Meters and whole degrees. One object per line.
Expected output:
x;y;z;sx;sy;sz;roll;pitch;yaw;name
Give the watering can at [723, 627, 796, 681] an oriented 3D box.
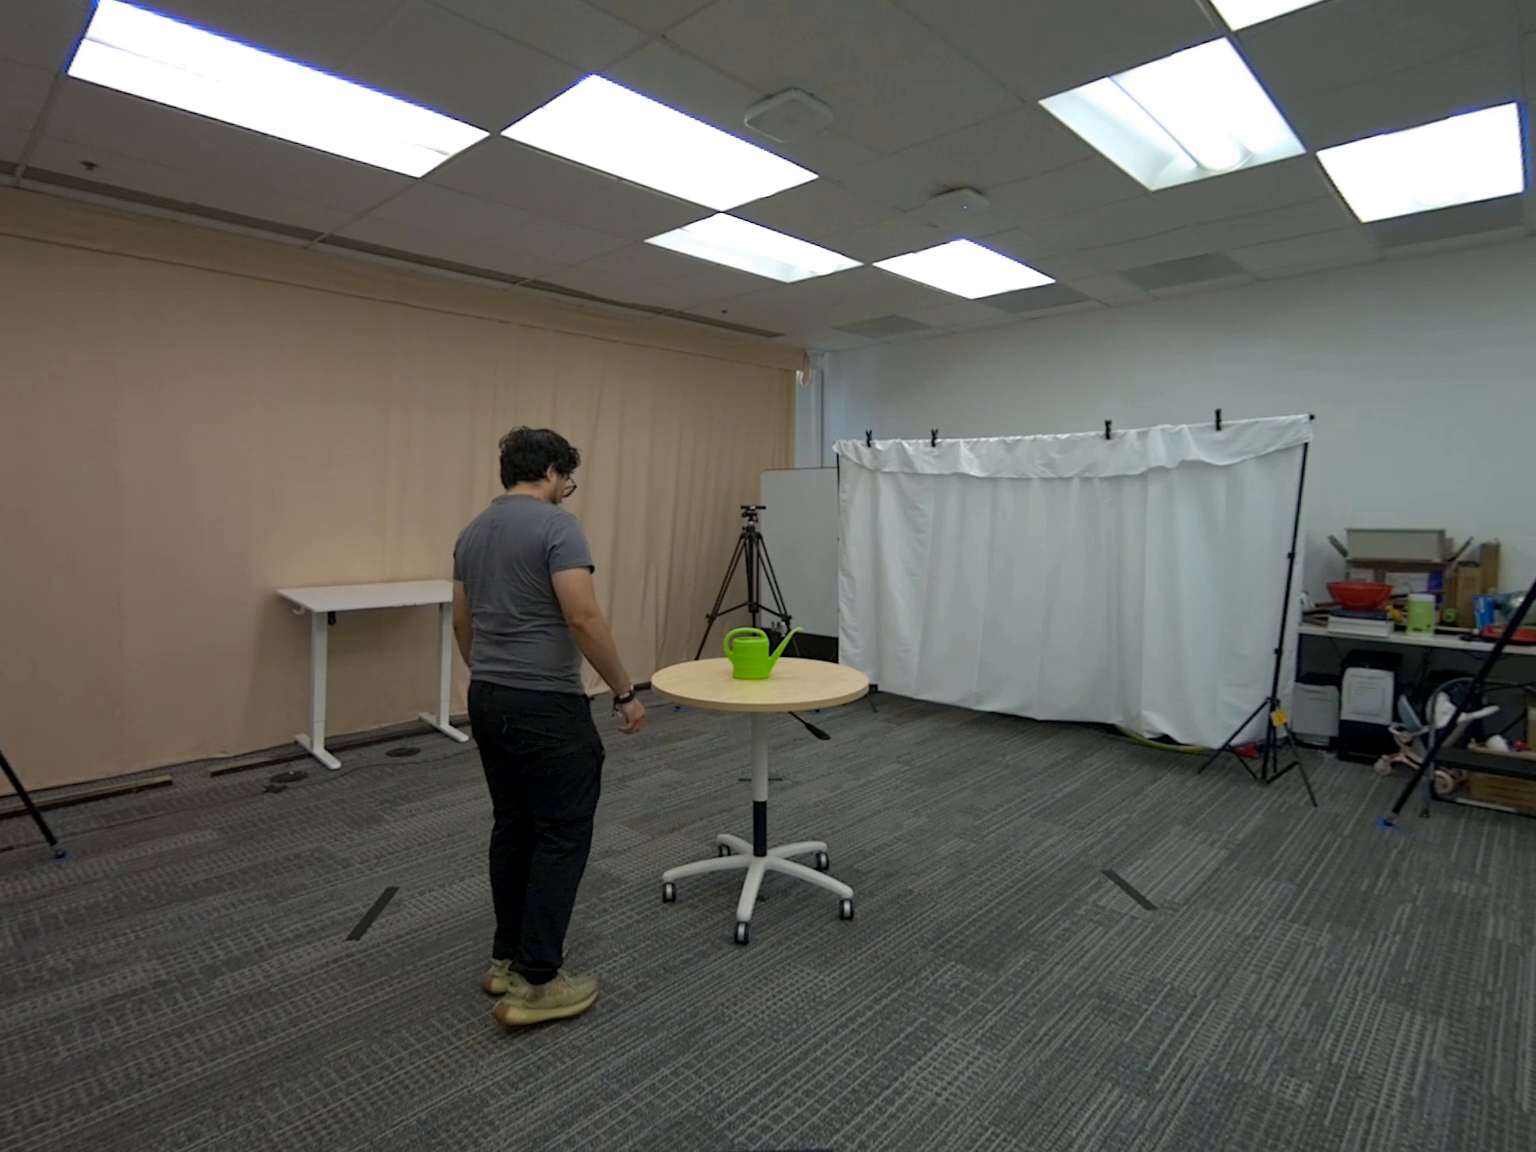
-0.008;0.279;2.963;0.284;0.176;0.096;2;4;20;watering can
